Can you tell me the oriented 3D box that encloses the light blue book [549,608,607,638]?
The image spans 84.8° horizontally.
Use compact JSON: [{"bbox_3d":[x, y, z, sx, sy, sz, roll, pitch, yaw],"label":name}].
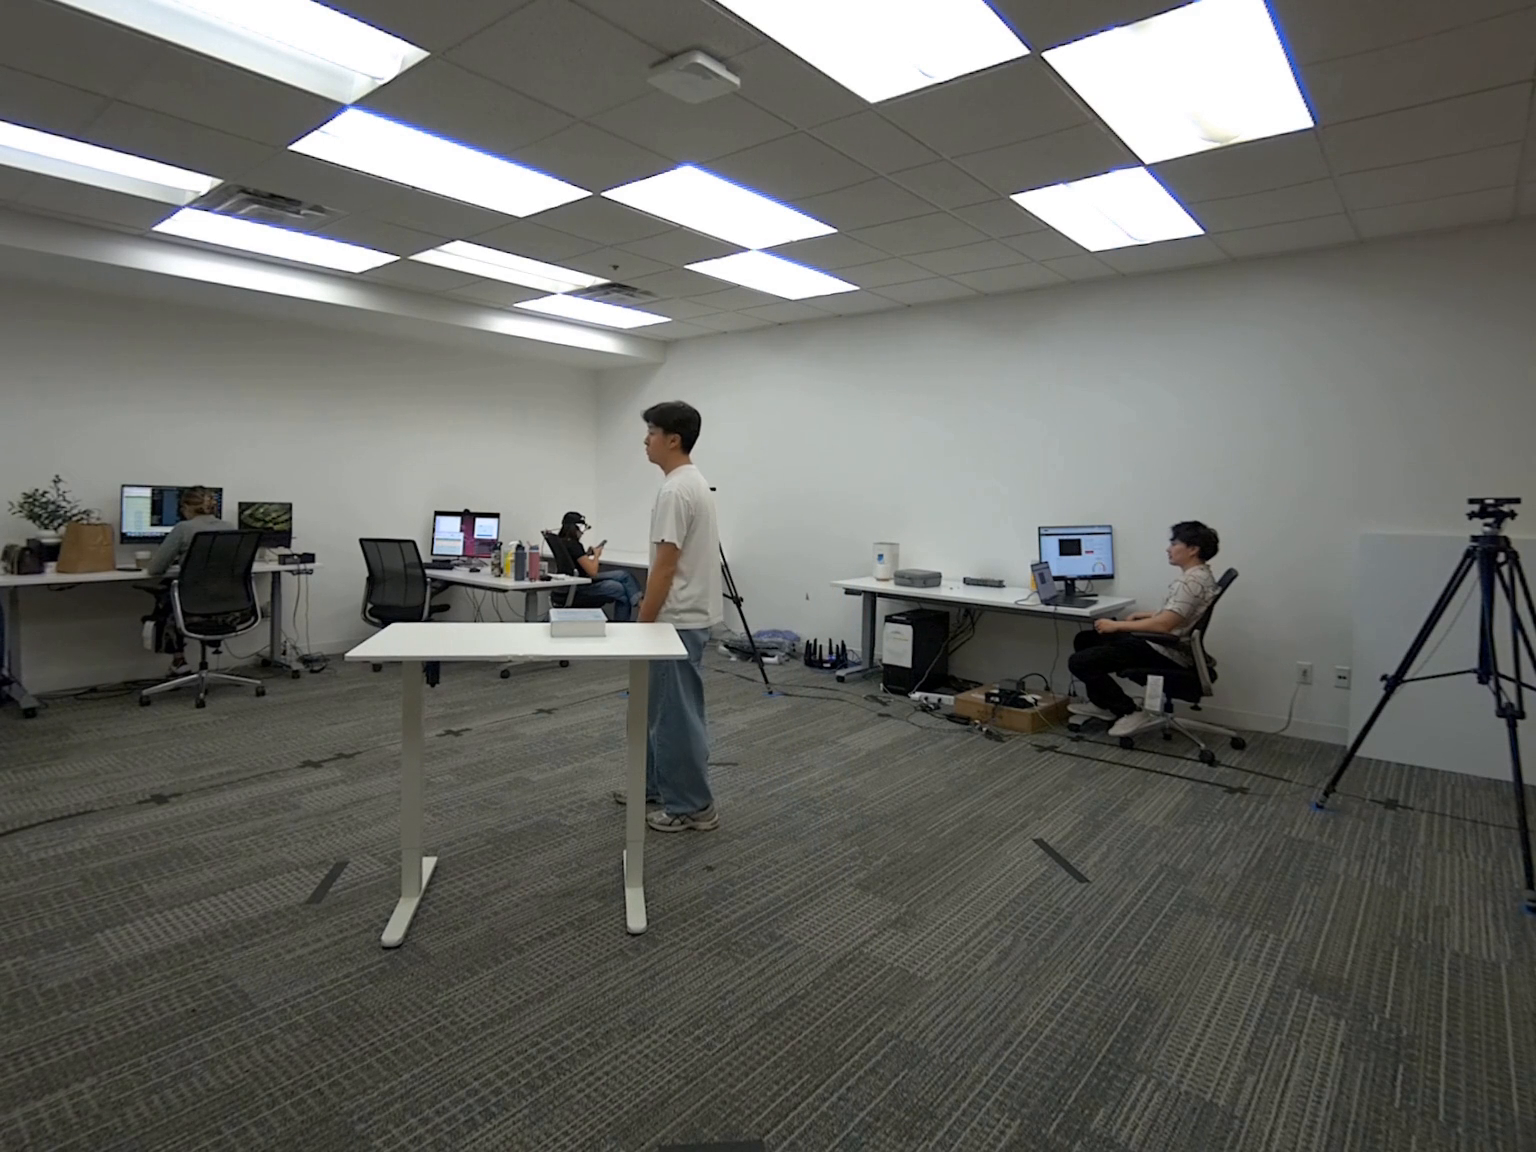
[{"bbox_3d":[-0.696,0.164,2.983,0.188,0.059,0.266,2,6,-15],"label":"light blue book"}]
